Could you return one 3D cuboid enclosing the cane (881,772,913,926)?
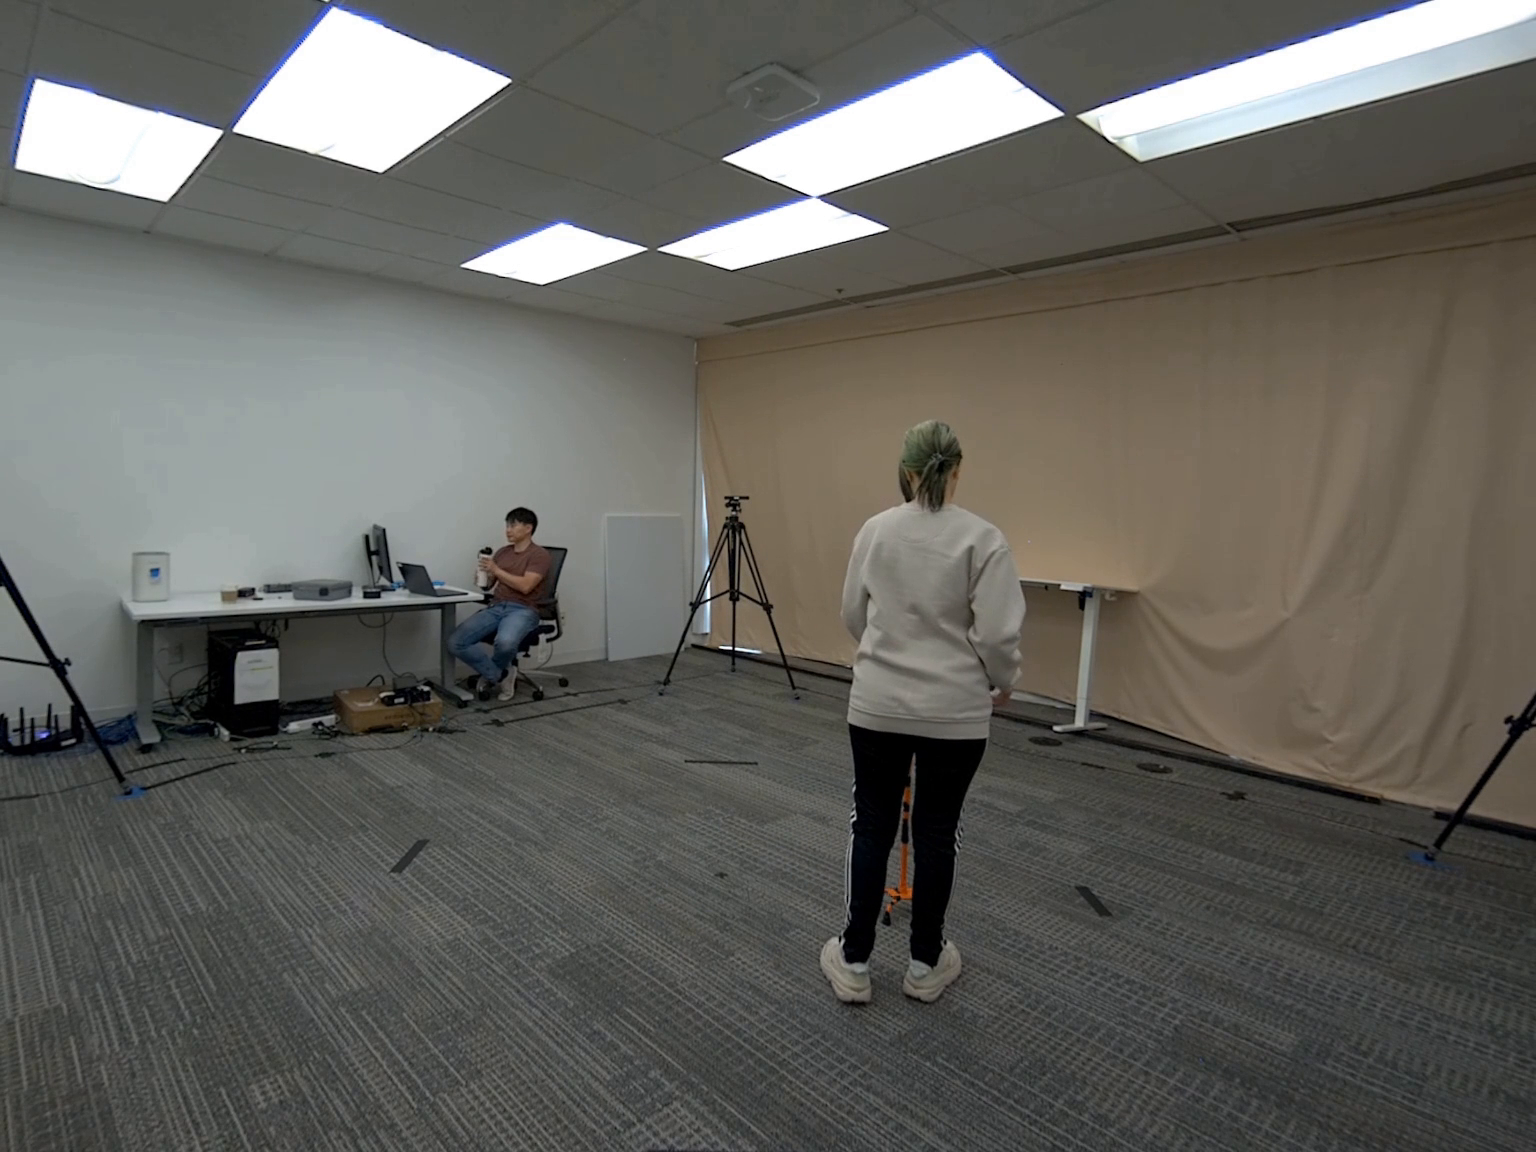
[{"bbox_3d":[0.474,0.689,2.822,0.204,0.906,0.154,0,3,-17],"label":"cane"}]
